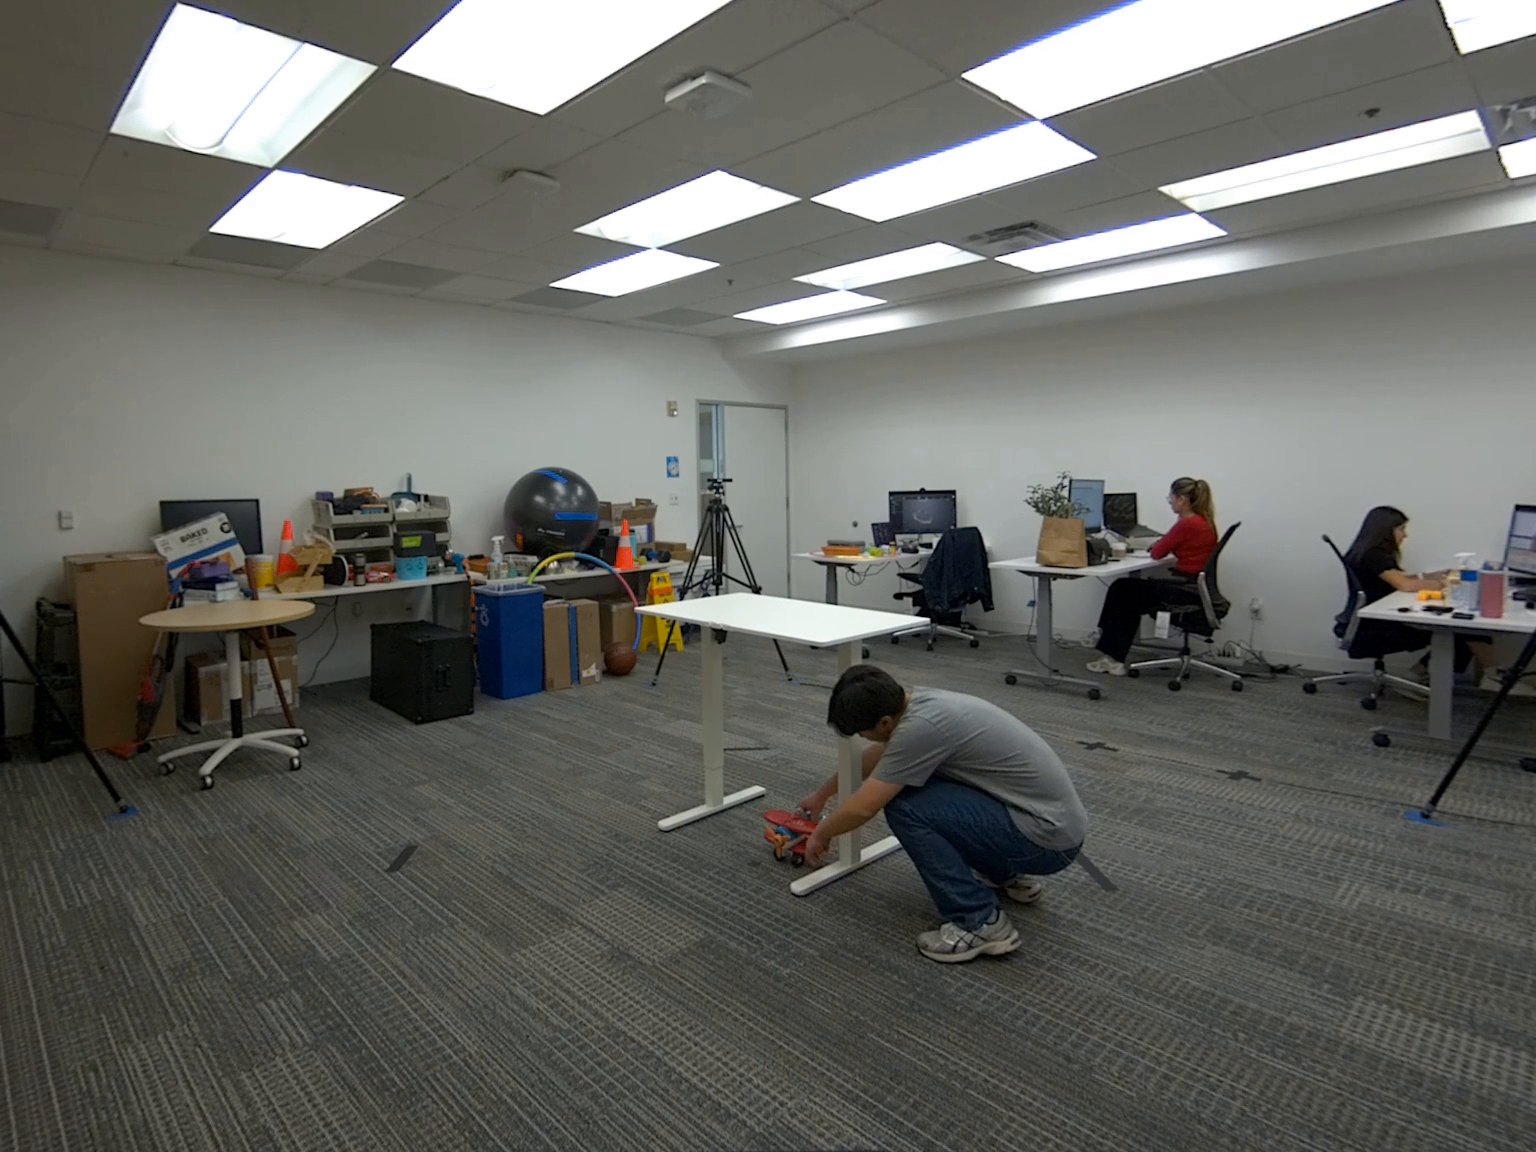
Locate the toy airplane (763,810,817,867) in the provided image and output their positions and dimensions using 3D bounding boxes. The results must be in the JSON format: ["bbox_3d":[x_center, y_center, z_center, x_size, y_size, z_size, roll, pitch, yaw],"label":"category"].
[{"bbox_3d":[0.103,0.938,3.157,0.254,0.153,0.261,-8,20,16],"label":"toy airplane"}]
